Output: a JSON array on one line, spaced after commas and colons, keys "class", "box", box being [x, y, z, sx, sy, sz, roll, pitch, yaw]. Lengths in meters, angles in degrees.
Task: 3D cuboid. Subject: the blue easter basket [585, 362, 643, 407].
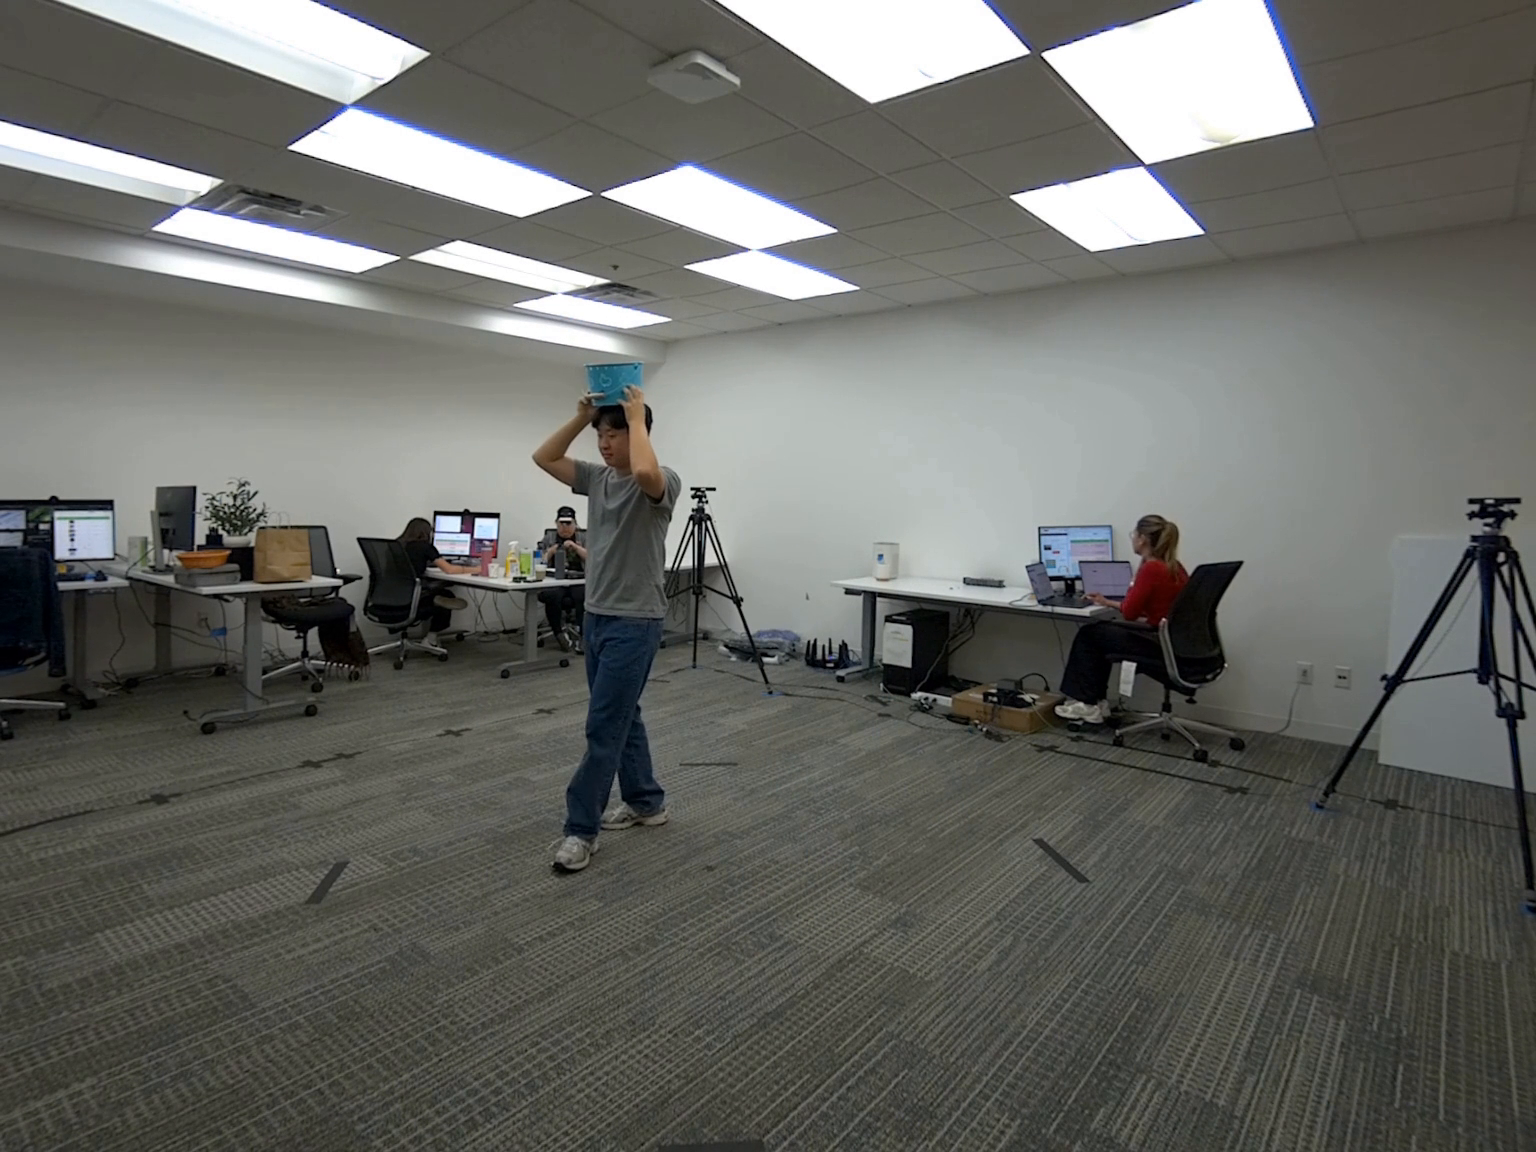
[{"class": "blue easter basket", "box": [-0.589, -0.733, 3.220, 0.243, 0.154, 0.247, -4, 13, -1]}]
